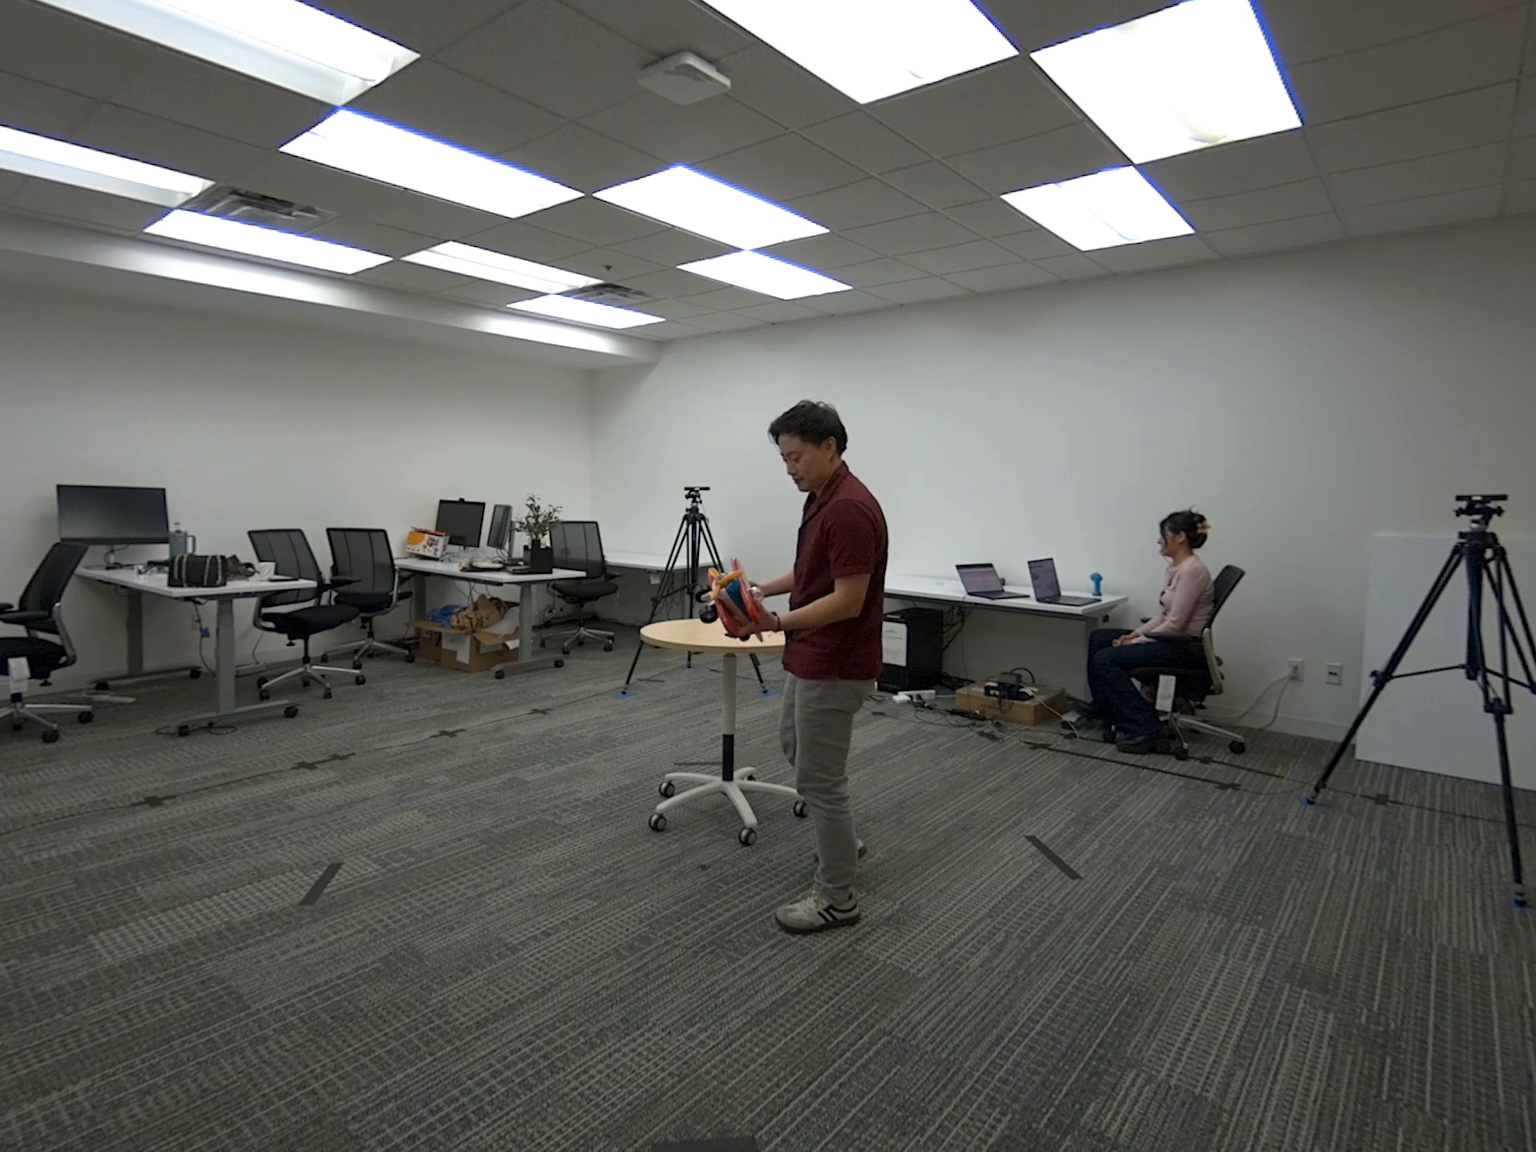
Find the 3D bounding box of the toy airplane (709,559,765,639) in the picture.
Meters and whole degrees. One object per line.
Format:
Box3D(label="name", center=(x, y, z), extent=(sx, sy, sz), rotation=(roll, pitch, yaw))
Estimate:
Box3D(label="toy airplane", center=(-0.106, 0.071, 2.511), extent=(0.157, 0.258, 0.251), rotation=(-39, -21, 20))
